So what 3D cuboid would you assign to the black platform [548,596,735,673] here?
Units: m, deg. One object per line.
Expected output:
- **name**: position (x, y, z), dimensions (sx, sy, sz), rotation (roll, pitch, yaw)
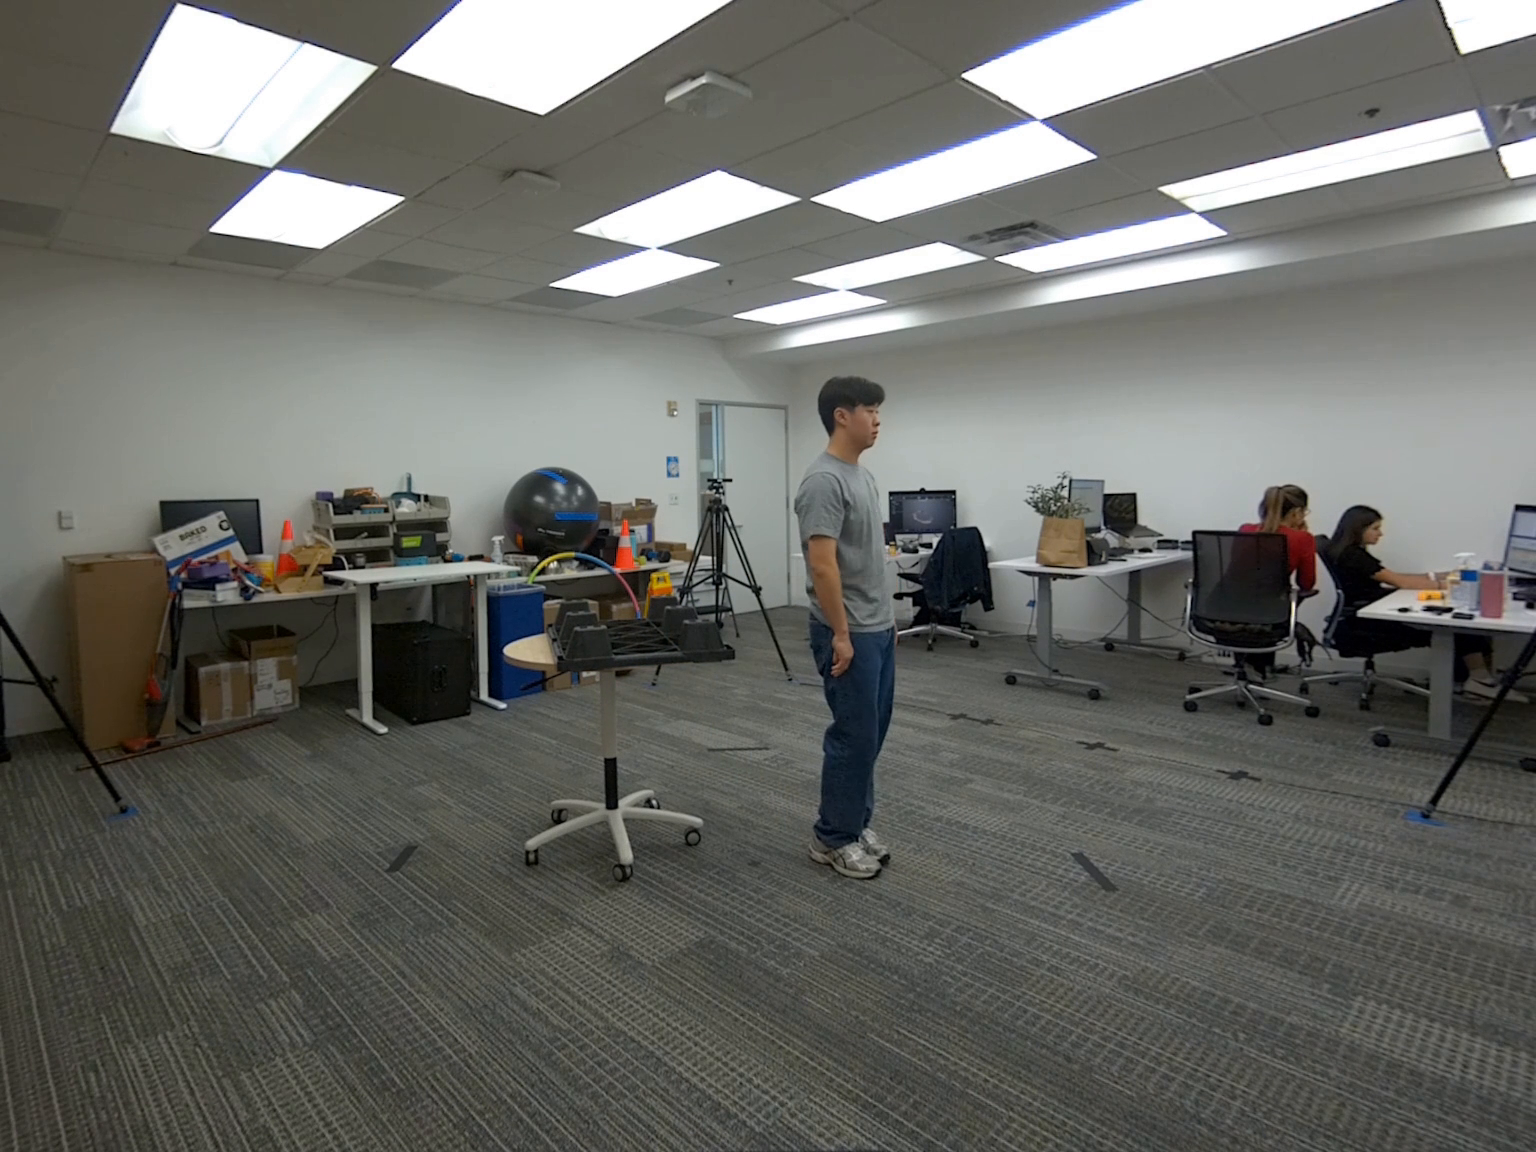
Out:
- **black platform**: position (-0.500, 0.193, 3.197), dimensions (0.597, 0.142, 0.821), rotation (-4, 7, -16)
